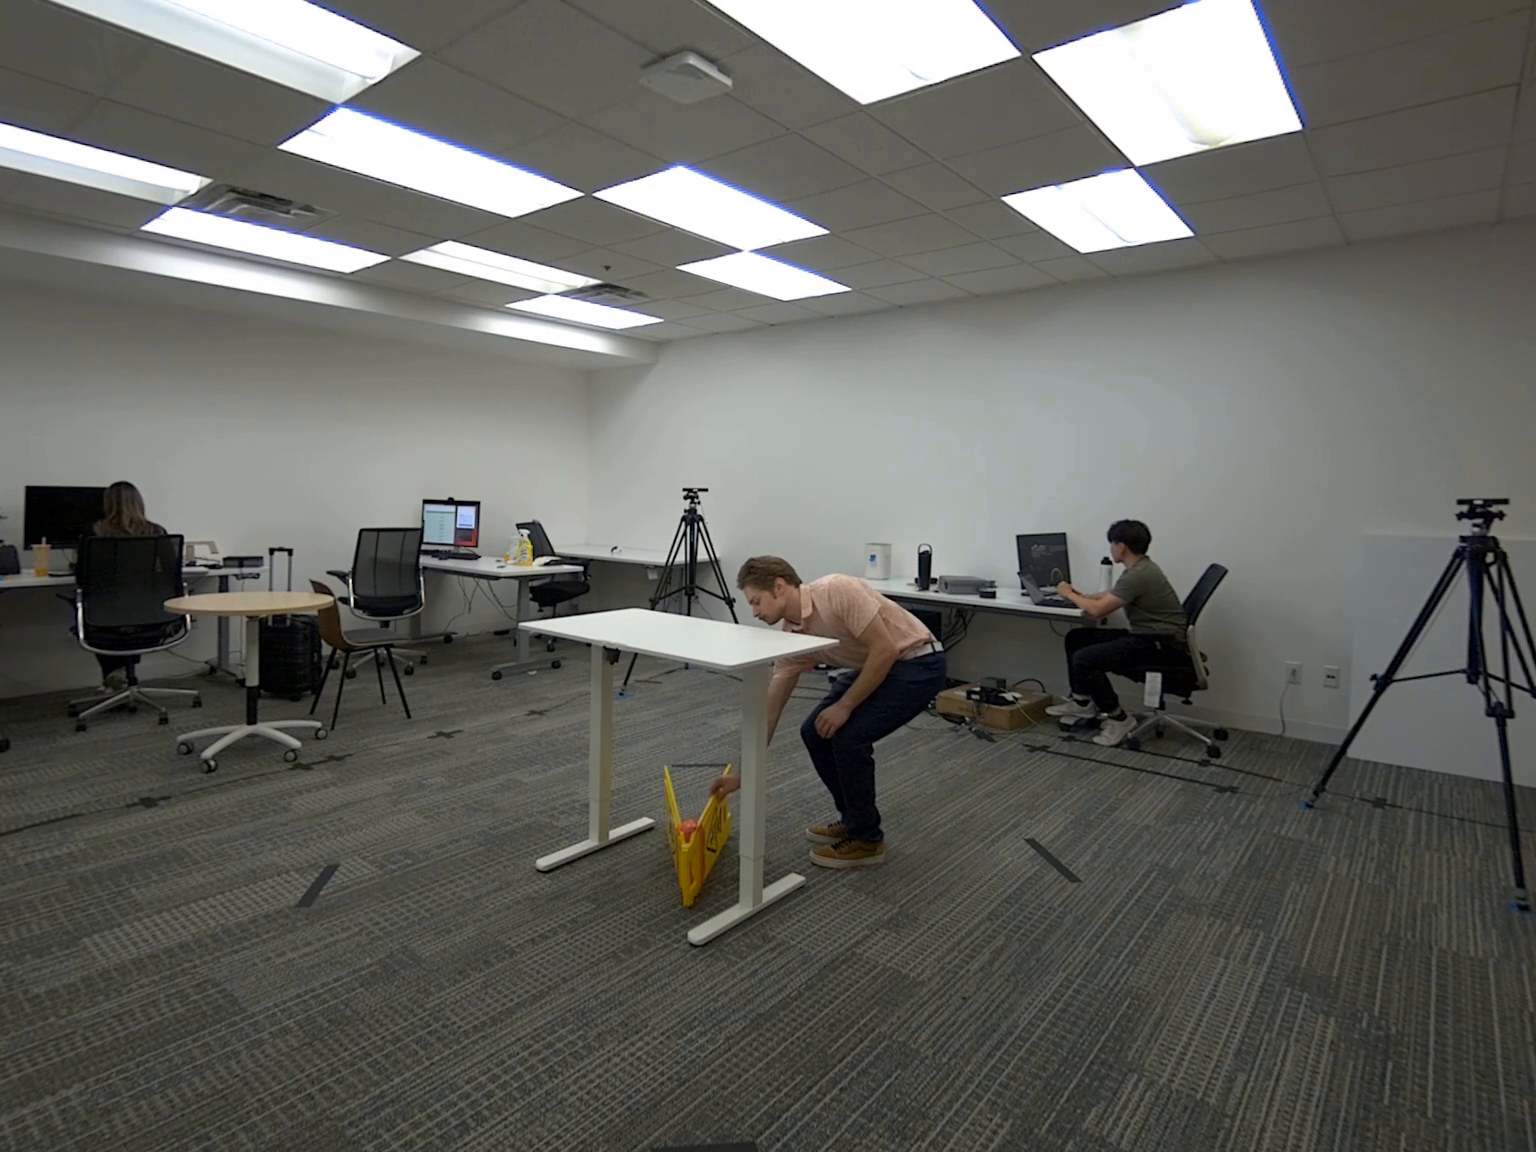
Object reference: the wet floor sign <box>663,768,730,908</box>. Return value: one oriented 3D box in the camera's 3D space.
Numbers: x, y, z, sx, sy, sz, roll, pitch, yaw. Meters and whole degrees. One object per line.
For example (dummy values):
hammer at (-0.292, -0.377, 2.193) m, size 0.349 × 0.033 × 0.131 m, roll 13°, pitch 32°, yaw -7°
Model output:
wet floor sign at (-0.280, 0.927, 3.097) m, size 0.290 × 0.280 × 0.650 m, roll -2°, pitch 9°, yaw 0°
